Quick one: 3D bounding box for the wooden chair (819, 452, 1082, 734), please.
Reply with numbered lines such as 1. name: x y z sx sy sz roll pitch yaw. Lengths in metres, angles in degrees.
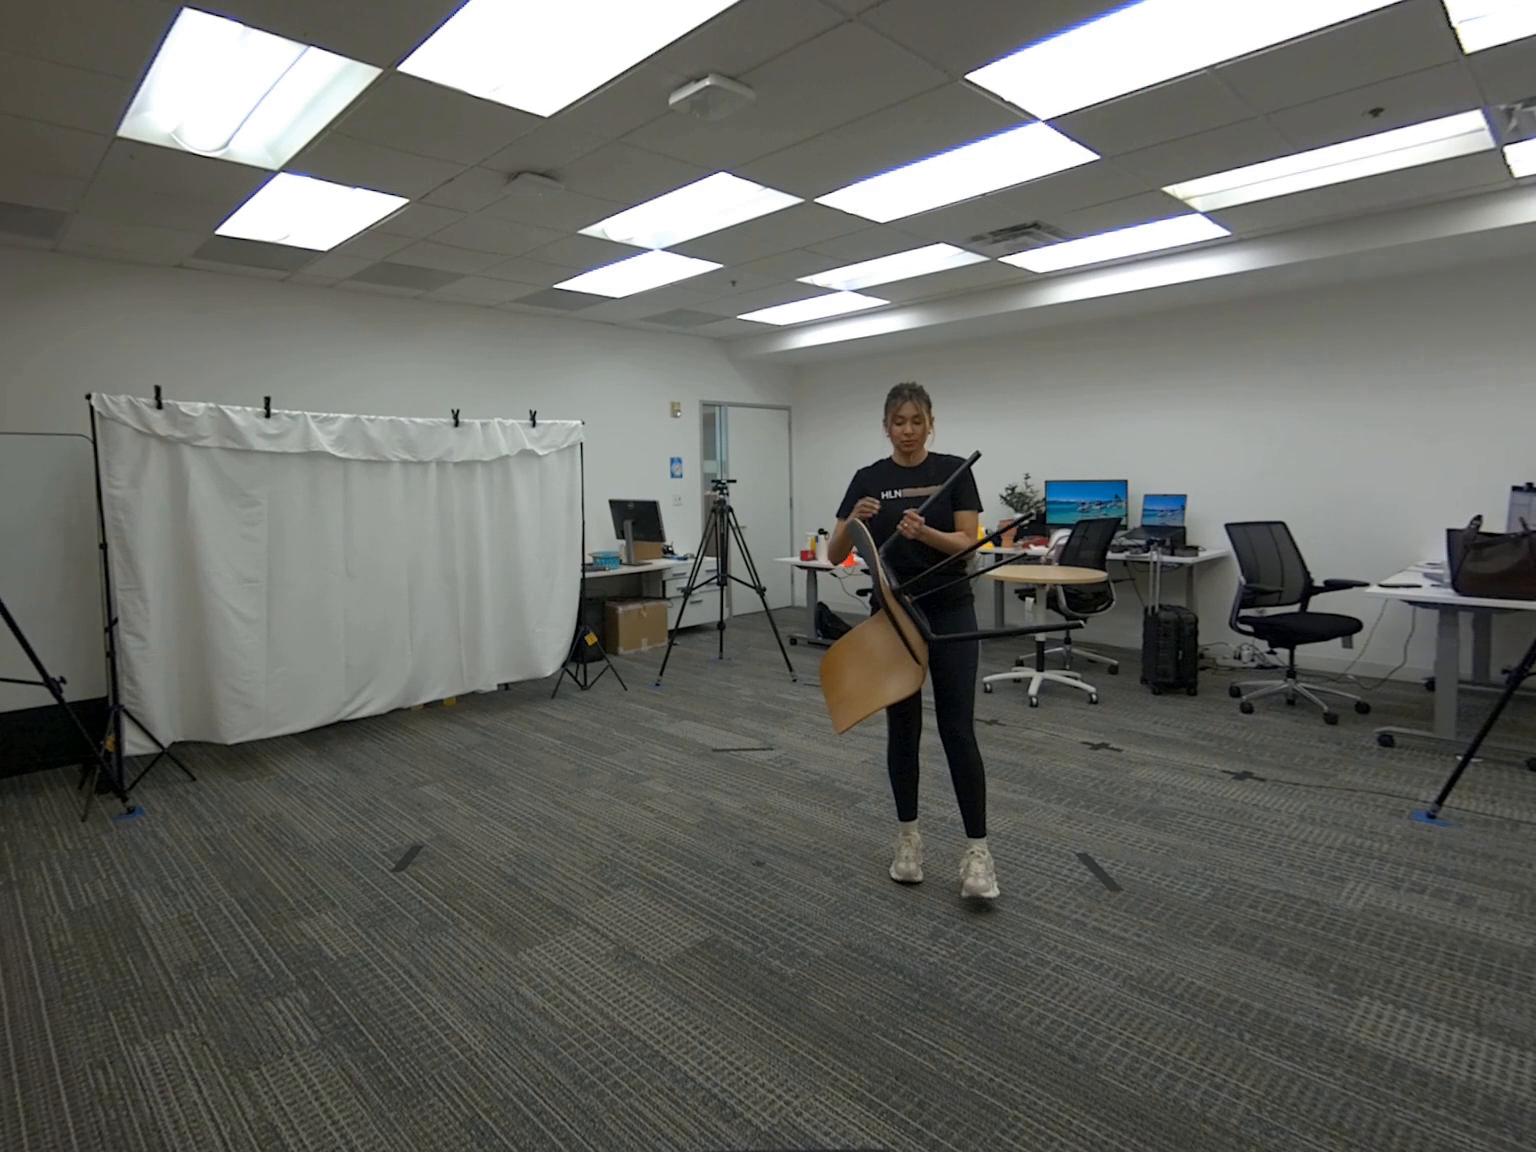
1. wooden chair: 0.443 0.070 2.720 0.881 0.507 0.491 -32 27 12
